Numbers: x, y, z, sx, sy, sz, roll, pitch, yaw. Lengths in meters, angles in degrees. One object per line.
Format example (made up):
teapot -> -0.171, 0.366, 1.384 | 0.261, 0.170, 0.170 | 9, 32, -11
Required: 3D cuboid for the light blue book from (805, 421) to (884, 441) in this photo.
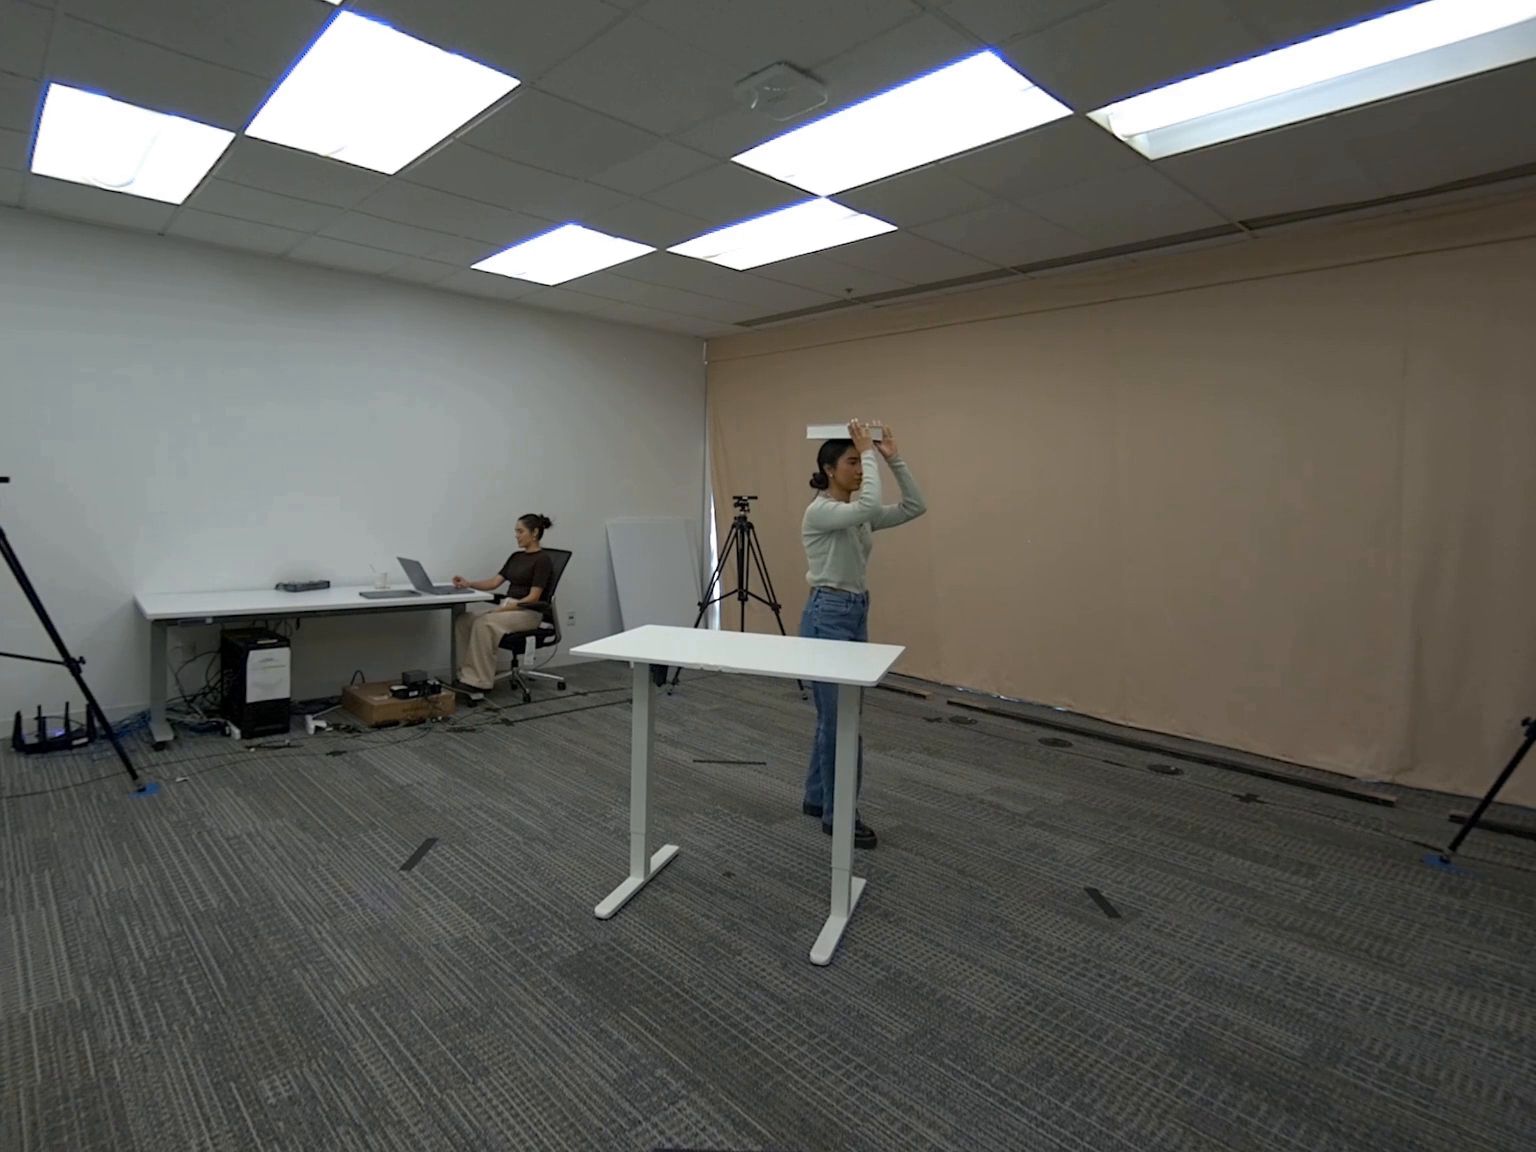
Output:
light blue book -> 0.316, -0.600, 3.521 | 0.268, 0.059, 0.187 | 6, 6, 40
